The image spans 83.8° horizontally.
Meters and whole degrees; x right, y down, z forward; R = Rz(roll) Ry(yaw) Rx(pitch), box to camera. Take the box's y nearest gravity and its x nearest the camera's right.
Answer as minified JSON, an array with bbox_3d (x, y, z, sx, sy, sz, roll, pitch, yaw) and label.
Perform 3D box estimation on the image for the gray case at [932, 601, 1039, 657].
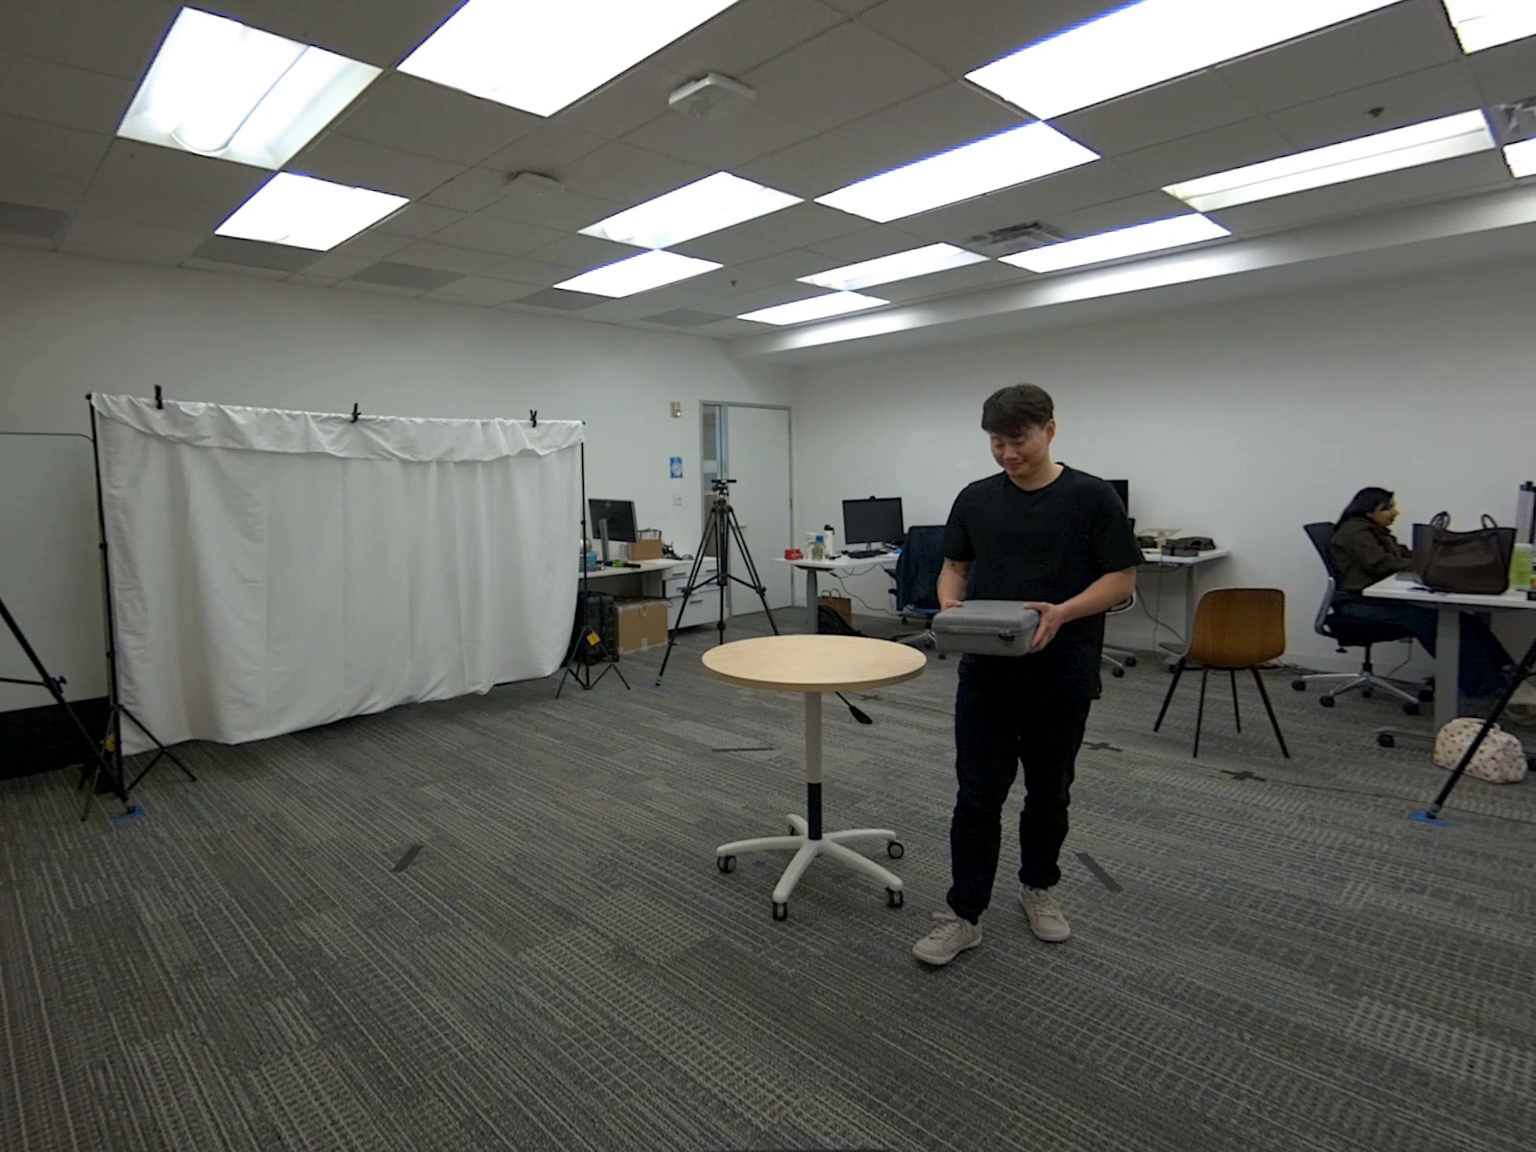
[{"bbox_3d":[0.634,0.144,2.344,0.263,0.103,0.256,0,9,27],"label":"gray case"}]
